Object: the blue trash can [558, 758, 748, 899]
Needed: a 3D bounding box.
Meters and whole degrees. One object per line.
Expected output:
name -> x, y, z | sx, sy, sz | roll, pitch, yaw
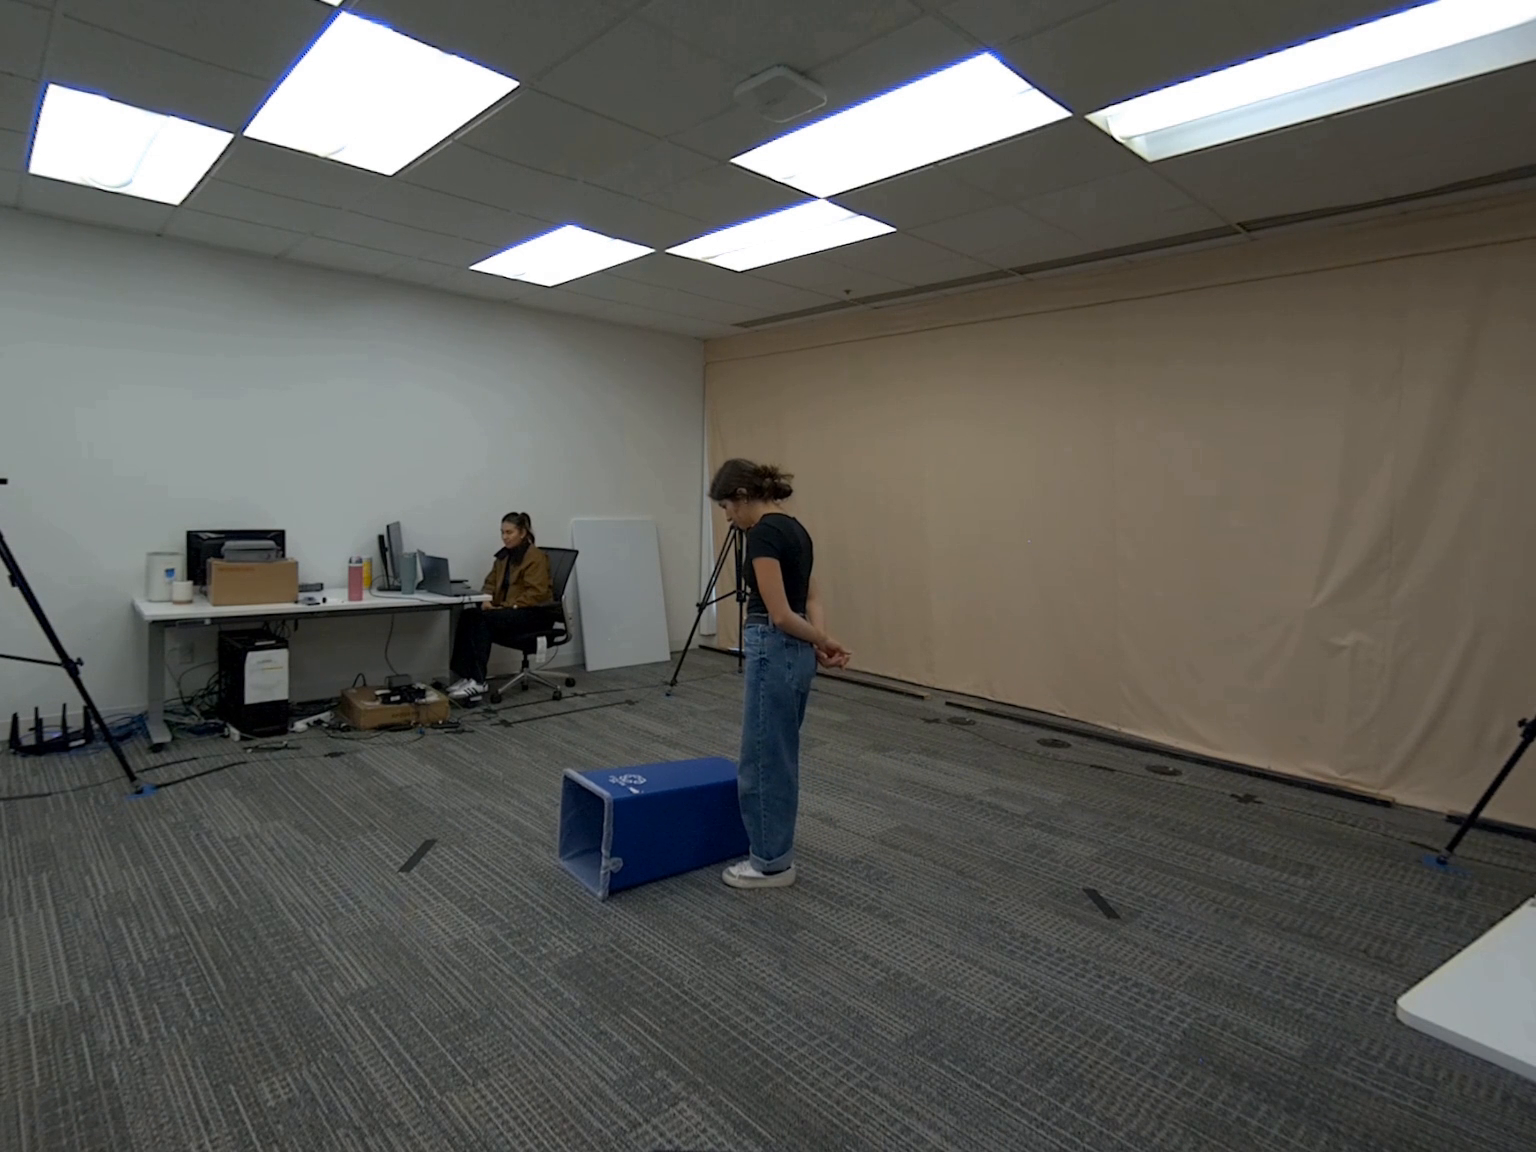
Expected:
blue trash can -> -0.408, 0.923, 3.225 | 0.696, 0.377, 0.383 | 1, 3, -39
